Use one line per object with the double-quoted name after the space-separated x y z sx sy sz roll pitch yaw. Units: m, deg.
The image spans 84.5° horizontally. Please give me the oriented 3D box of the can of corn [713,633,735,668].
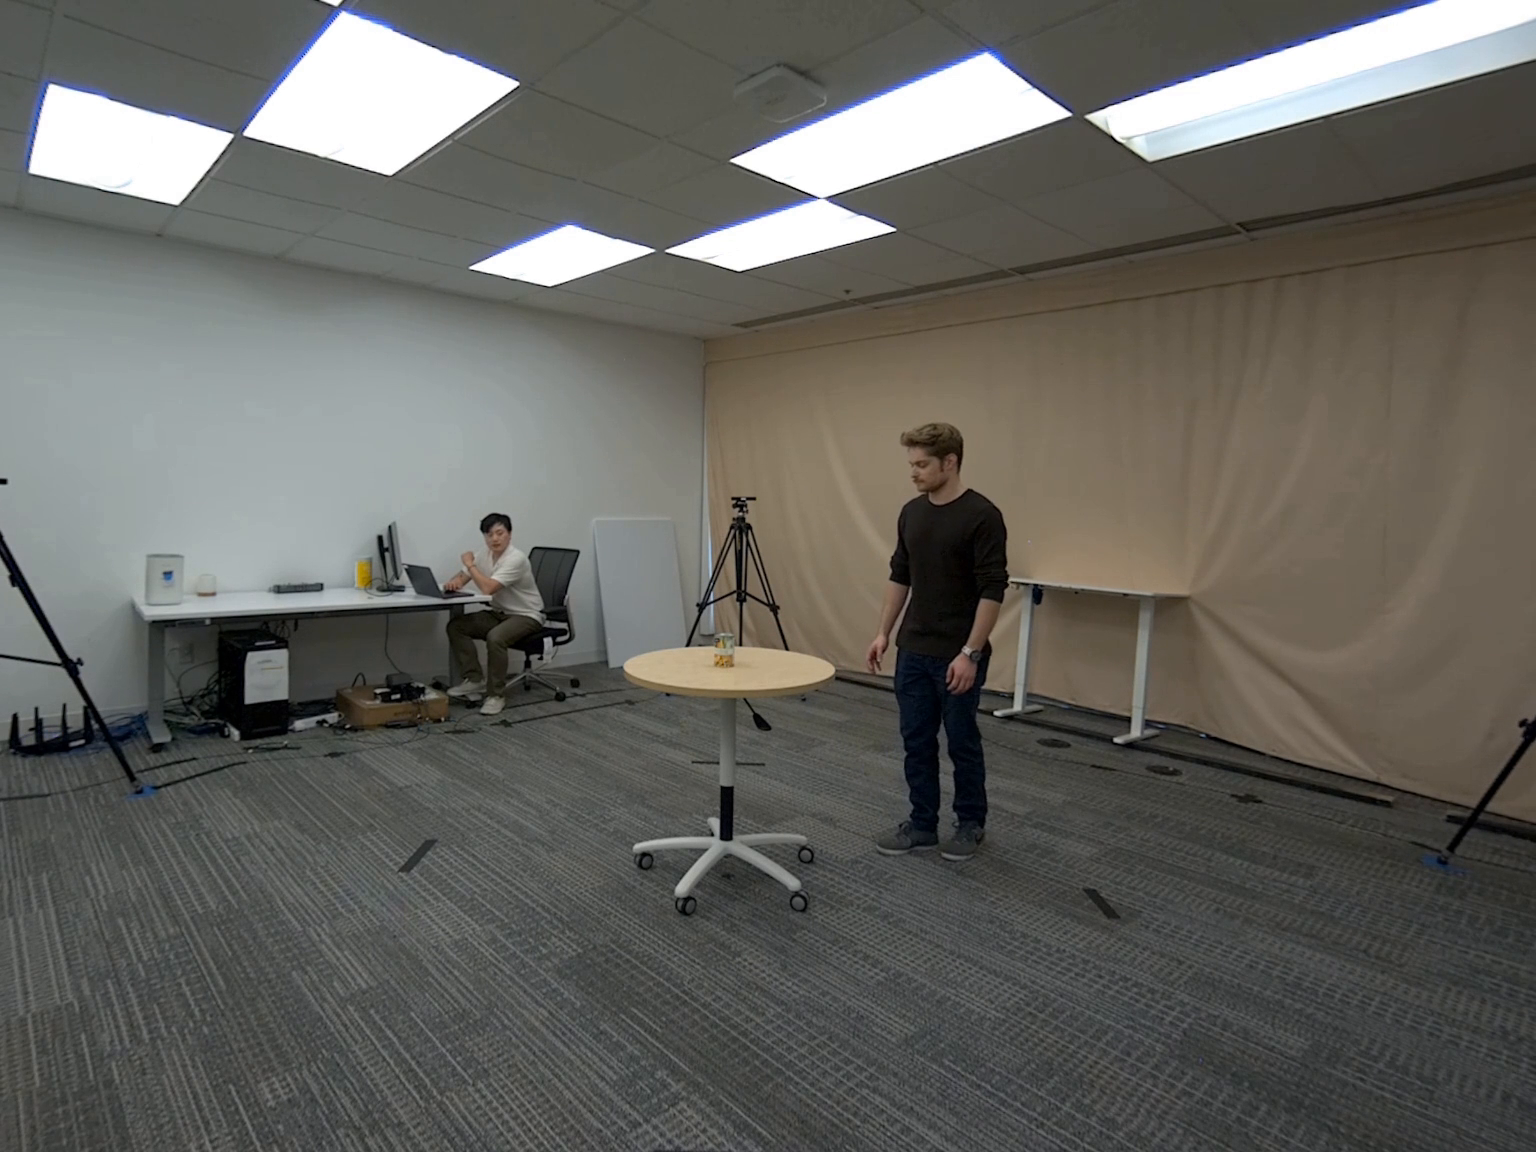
-0.165 0.272 3.054 0.074 0.111 0.074 2 1 -1 "can of corn"
